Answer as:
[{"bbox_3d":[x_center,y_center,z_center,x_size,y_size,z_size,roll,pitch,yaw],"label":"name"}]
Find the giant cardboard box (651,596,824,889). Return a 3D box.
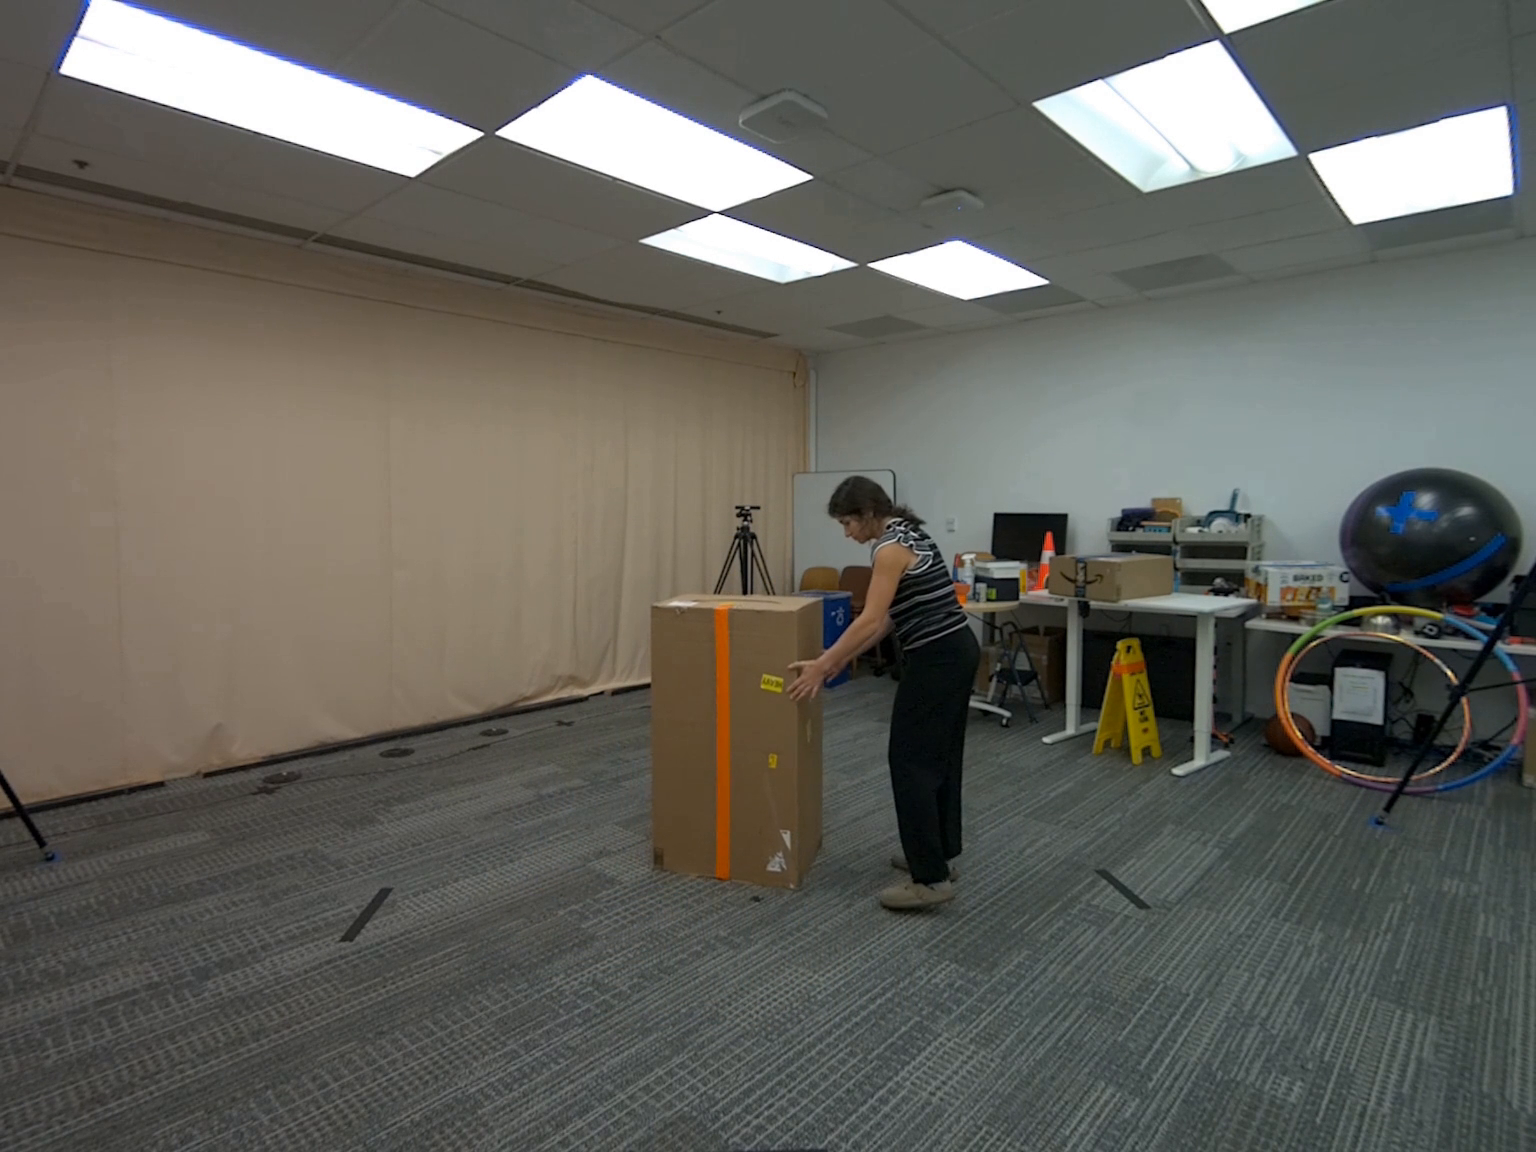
[{"bbox_3d":[-0.110,0.608,3.311,0.590,1.024,0.418,1,3,19],"label":"giant cardboard box"}]
